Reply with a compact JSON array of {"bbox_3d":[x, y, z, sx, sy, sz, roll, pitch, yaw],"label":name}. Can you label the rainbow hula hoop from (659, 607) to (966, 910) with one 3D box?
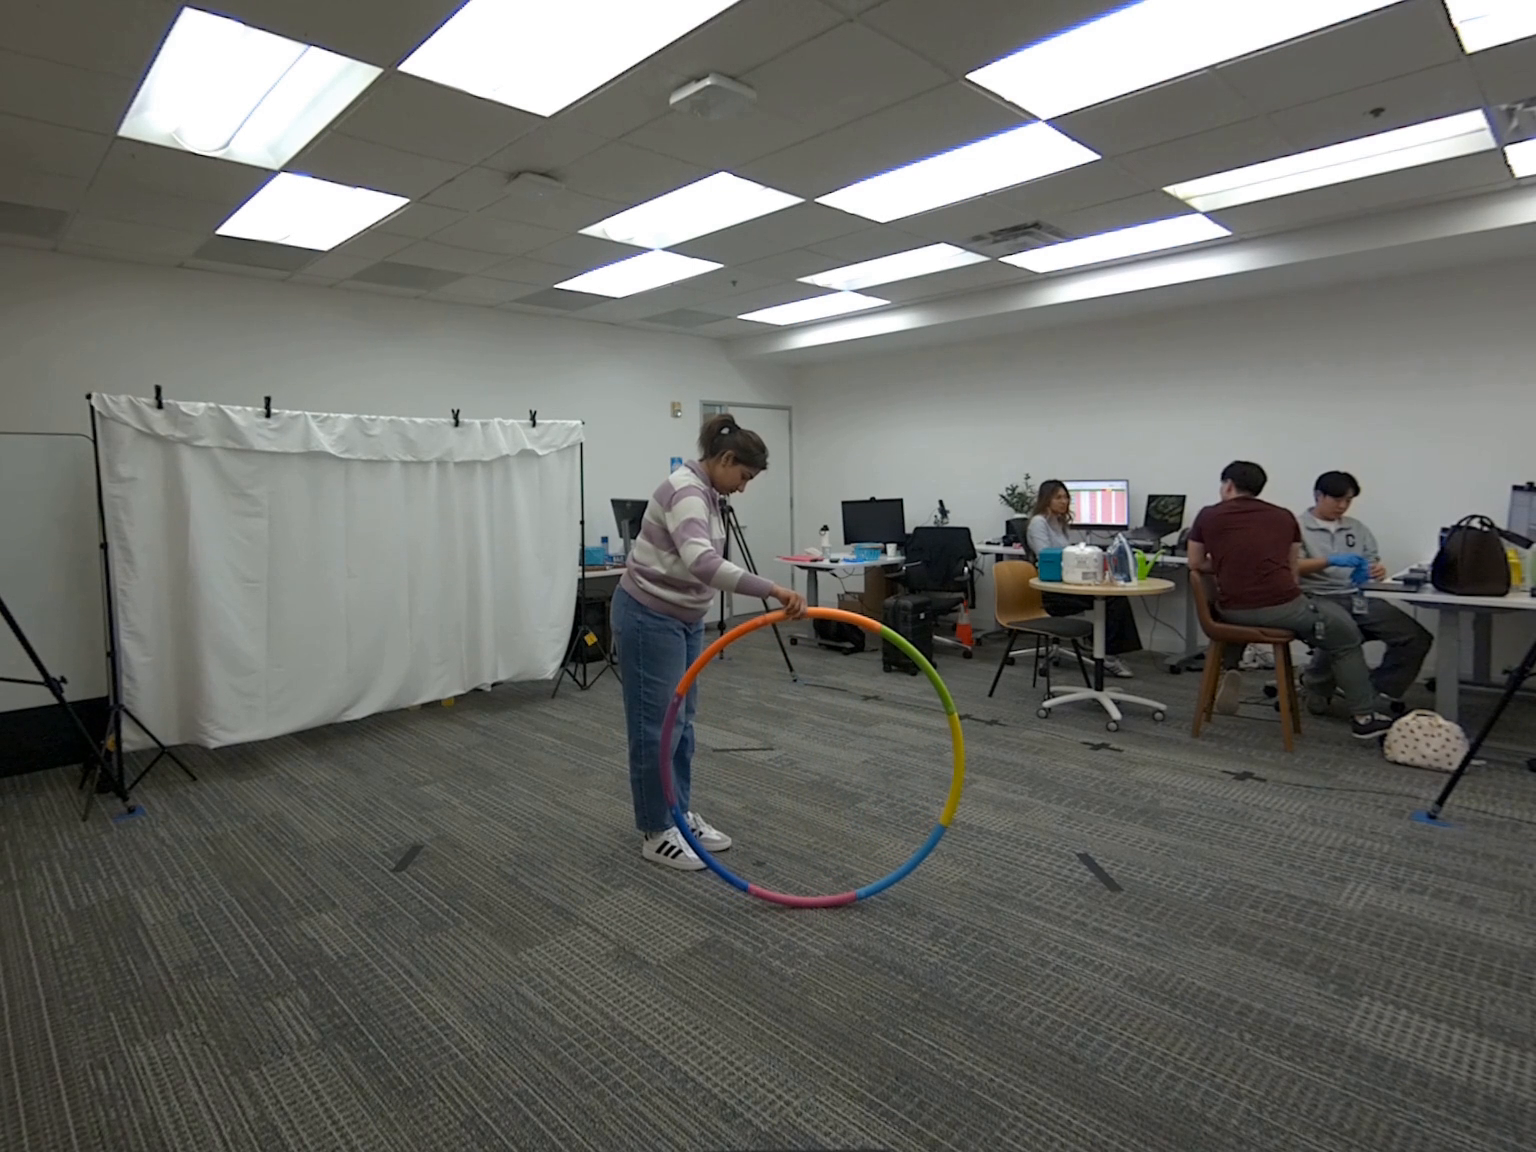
[{"bbox_3d":[0.145,0.593,2.769,0.978,0.976,0.035,-1,2,0],"label":"rainbow hula hoop"}]
